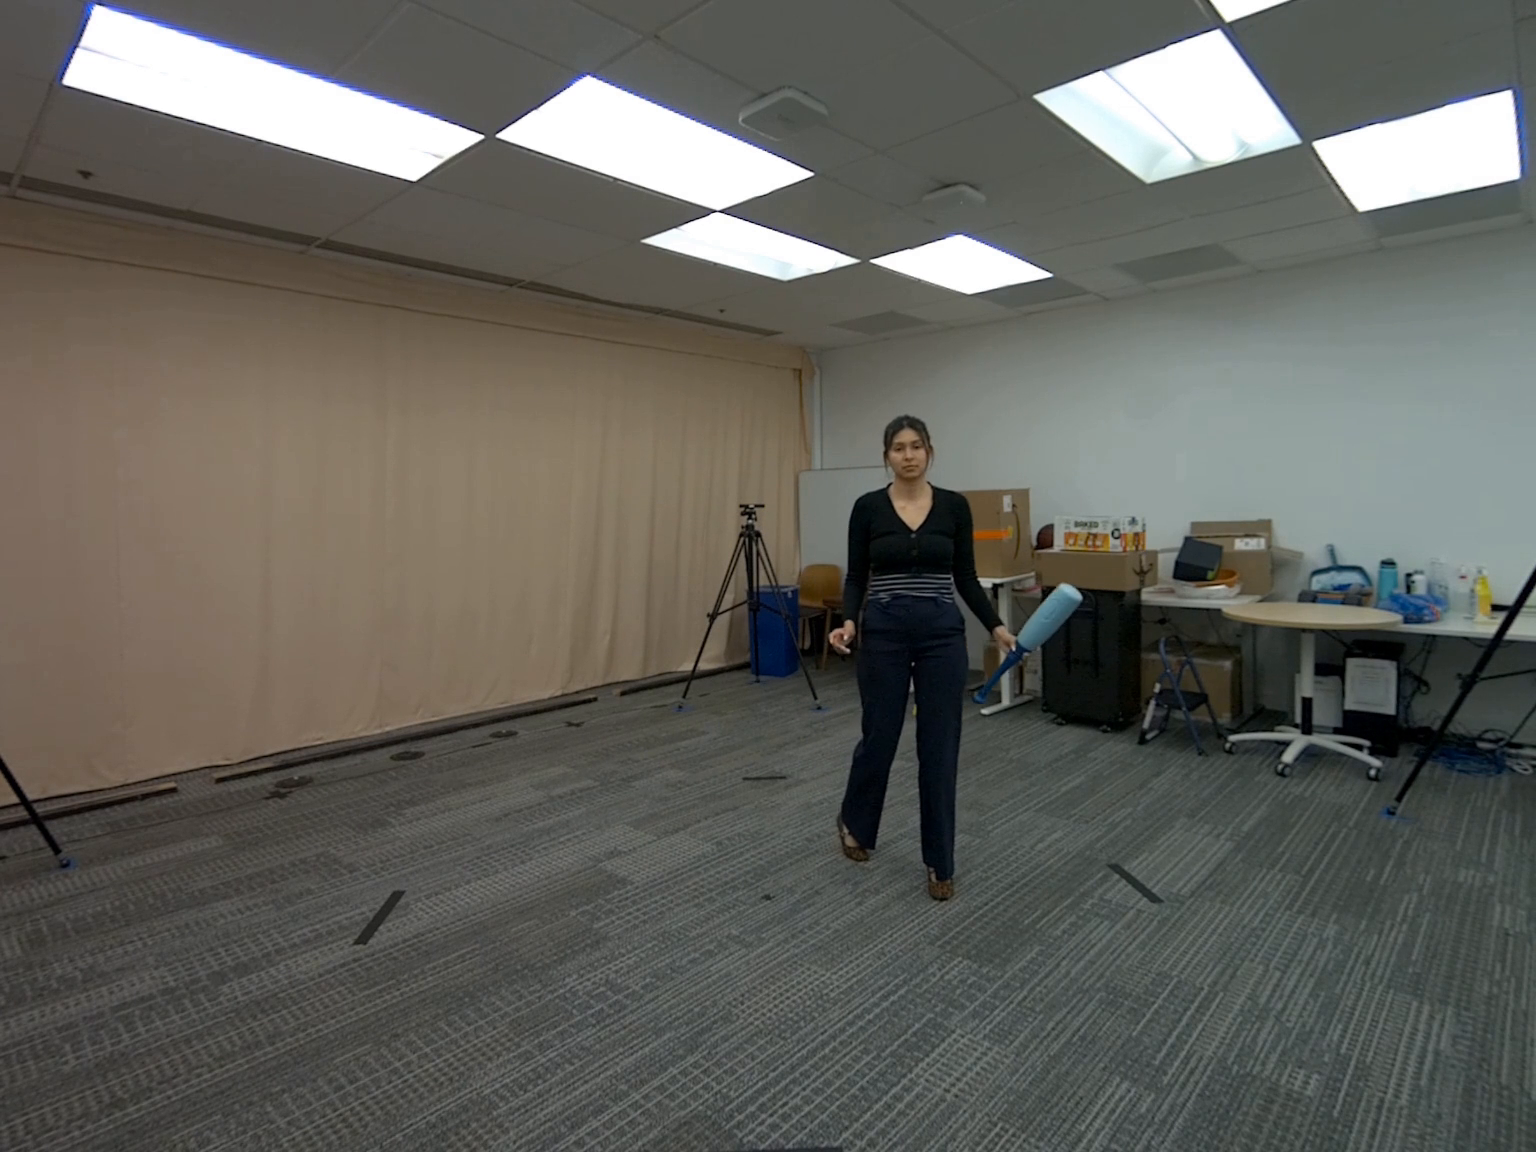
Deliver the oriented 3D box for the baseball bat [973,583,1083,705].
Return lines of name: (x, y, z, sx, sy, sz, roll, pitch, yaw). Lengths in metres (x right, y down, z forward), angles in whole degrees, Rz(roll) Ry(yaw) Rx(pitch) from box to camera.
baseball bat: (0.850, 0.221, 2.858, 0.087, 0.542, 0.091, 19, 32, -15)
